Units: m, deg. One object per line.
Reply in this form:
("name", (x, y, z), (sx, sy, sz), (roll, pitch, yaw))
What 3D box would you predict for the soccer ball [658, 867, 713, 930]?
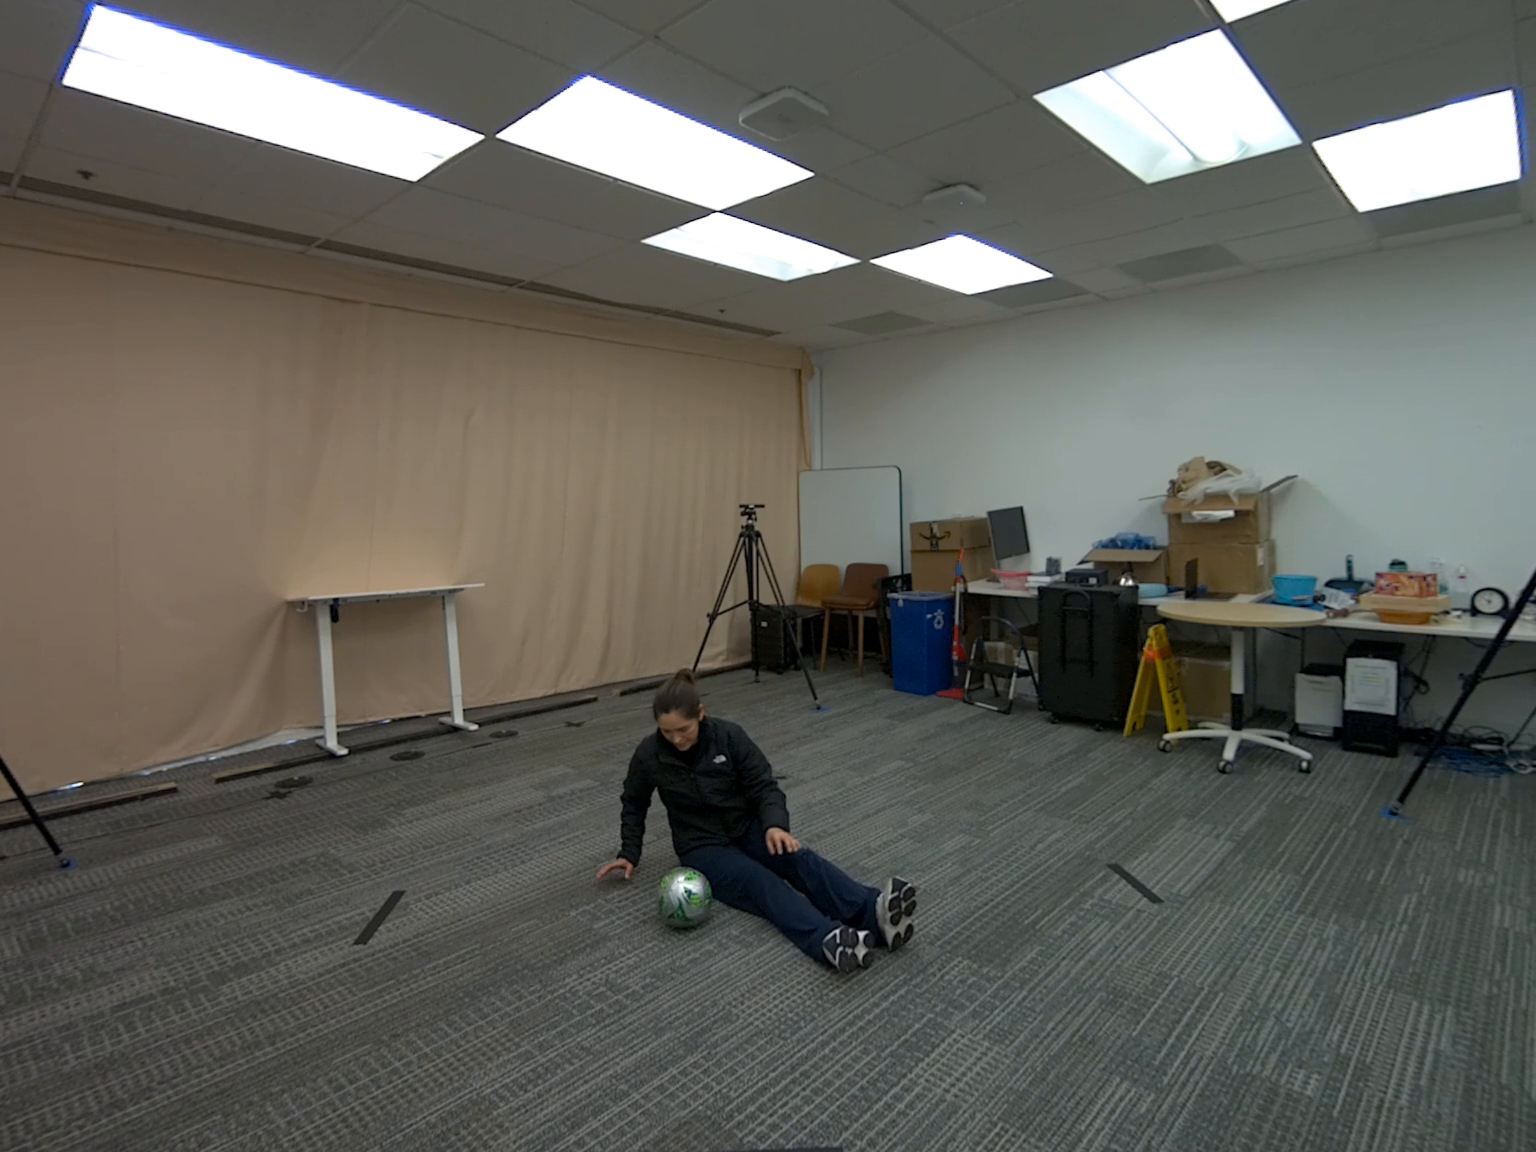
("soccer ball", (-0.279, 1.060, 2.801), (0.187, 0.187, 0.188), (-1, 4, -2))
